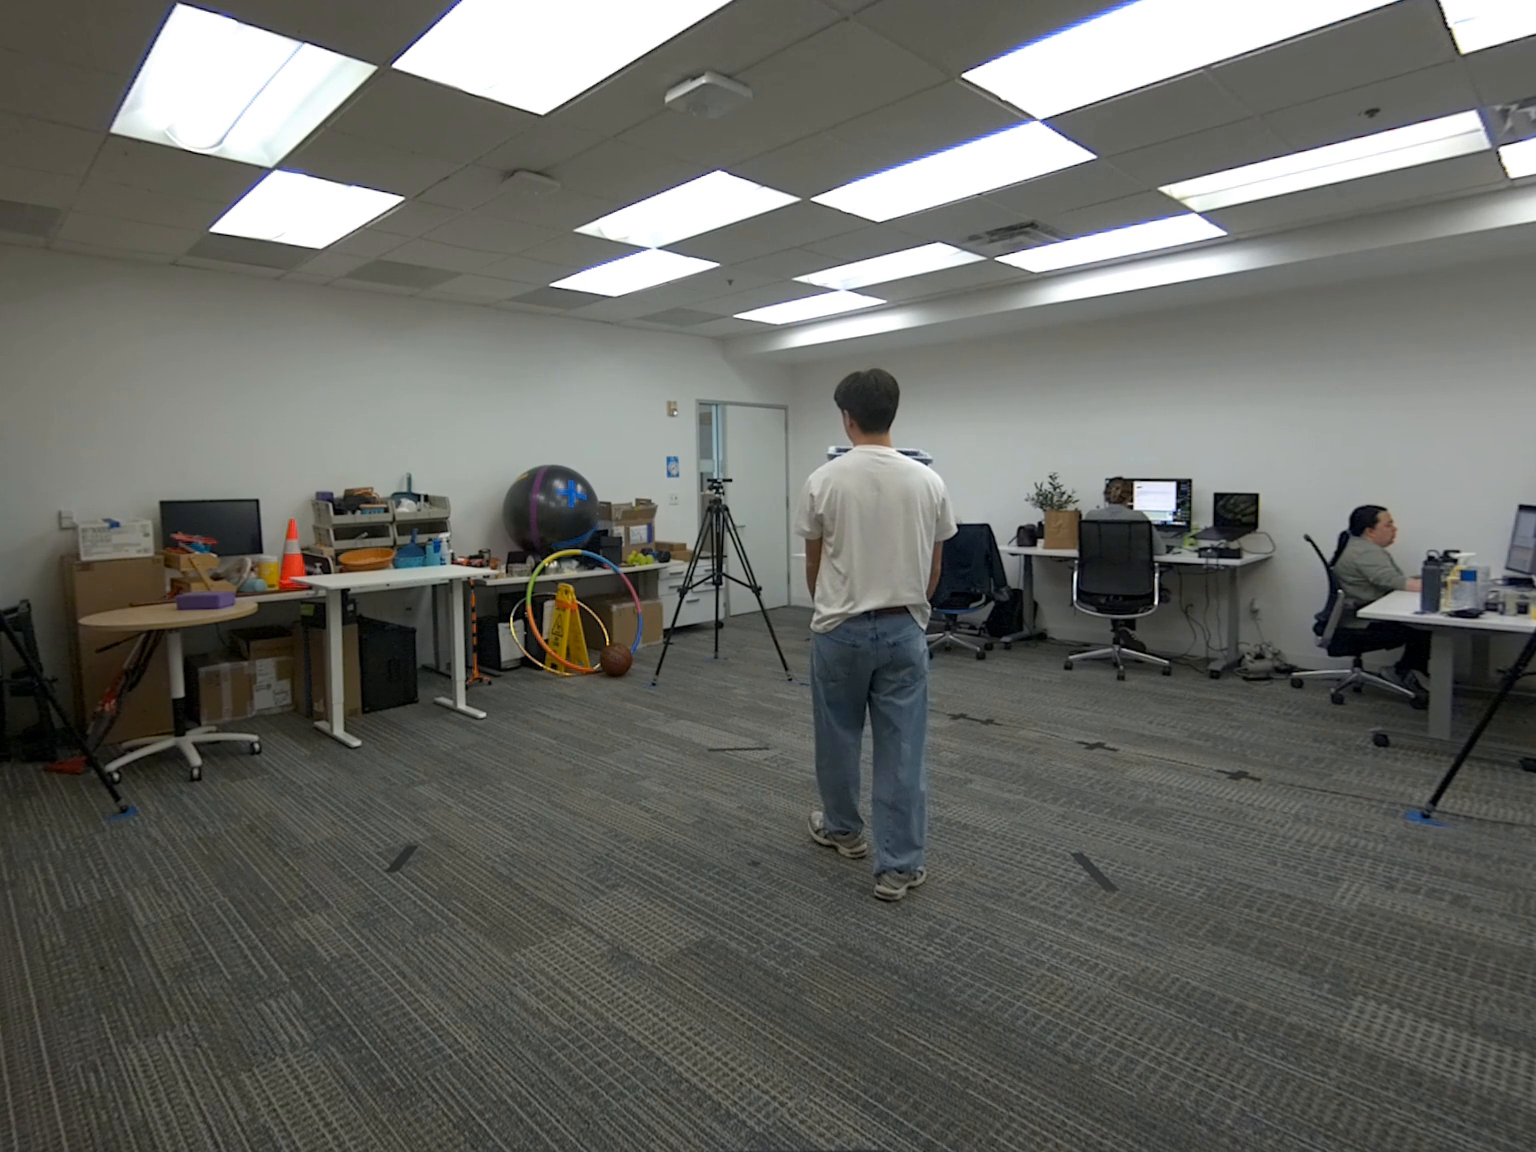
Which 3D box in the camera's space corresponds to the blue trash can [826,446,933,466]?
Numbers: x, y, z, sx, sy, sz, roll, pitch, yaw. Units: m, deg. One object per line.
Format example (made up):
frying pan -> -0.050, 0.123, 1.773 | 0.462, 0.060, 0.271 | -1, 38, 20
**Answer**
blue trash can -> 0.401, -0.116, 3.195 | 0.376, 0.706, 0.379 | 1, 11, 6
